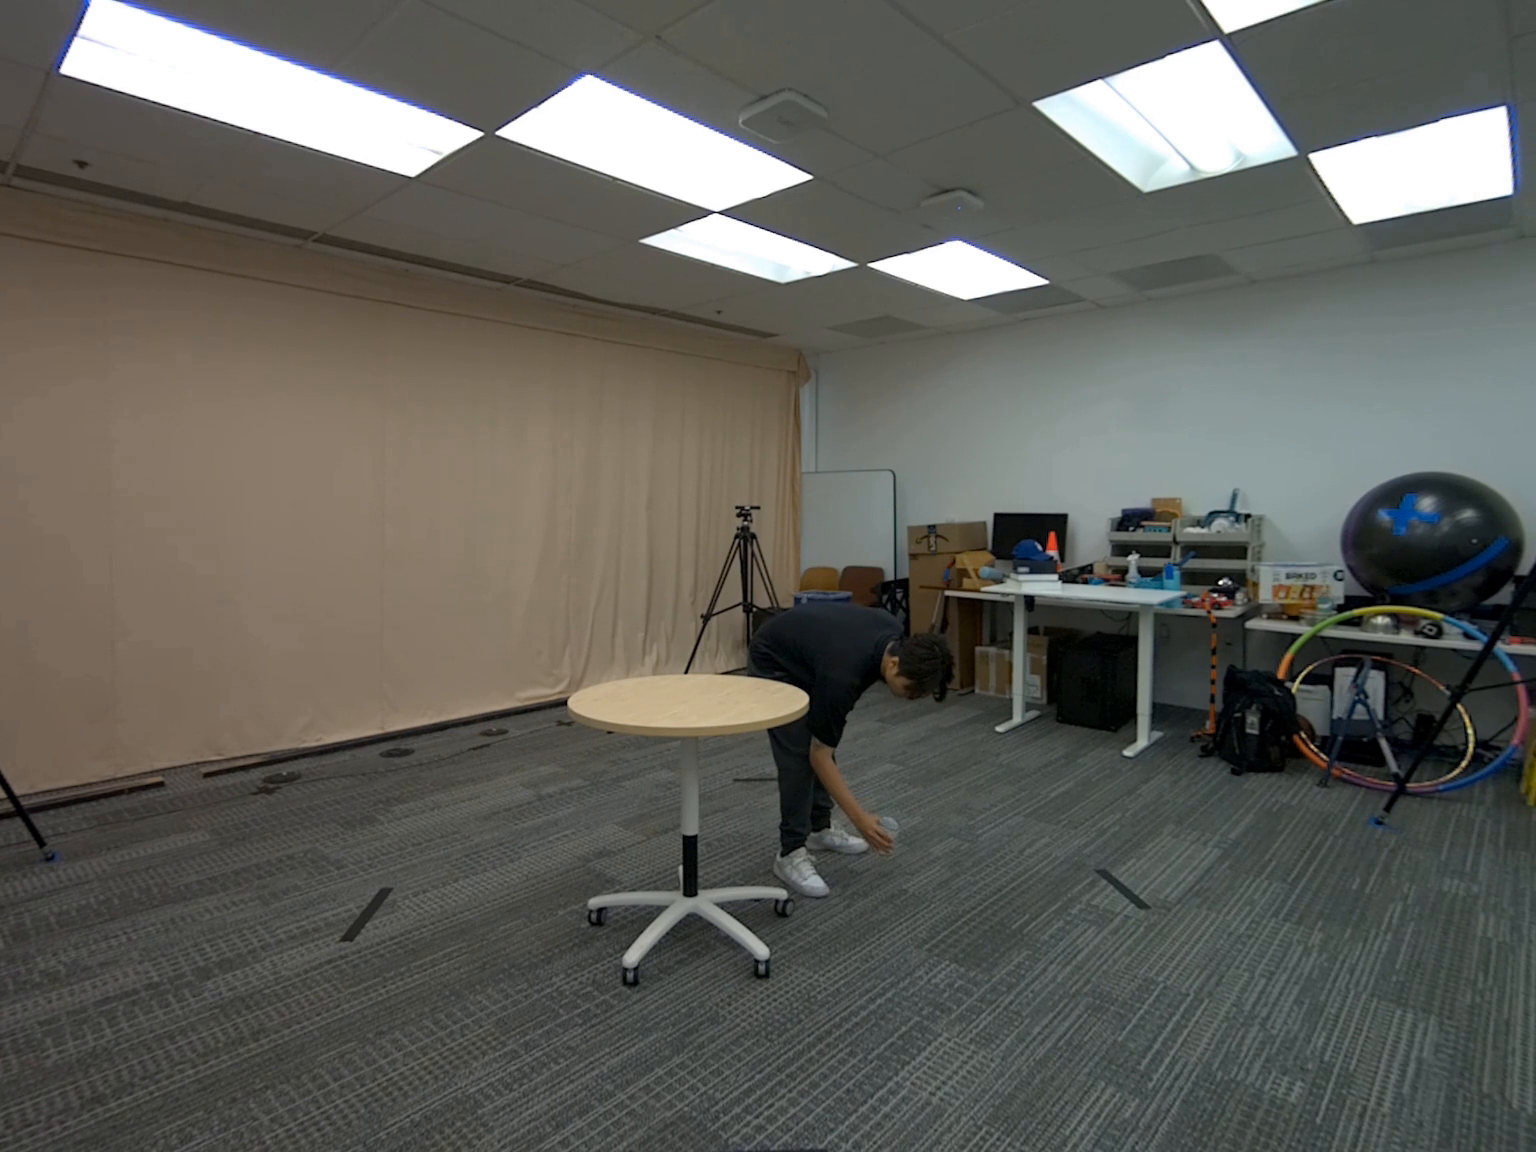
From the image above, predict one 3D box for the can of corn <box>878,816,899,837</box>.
[{"bbox_3d":[0.416,0.892,2.911,0.074,0.110,0.075,10,13,-4],"label":"can of corn"}]
